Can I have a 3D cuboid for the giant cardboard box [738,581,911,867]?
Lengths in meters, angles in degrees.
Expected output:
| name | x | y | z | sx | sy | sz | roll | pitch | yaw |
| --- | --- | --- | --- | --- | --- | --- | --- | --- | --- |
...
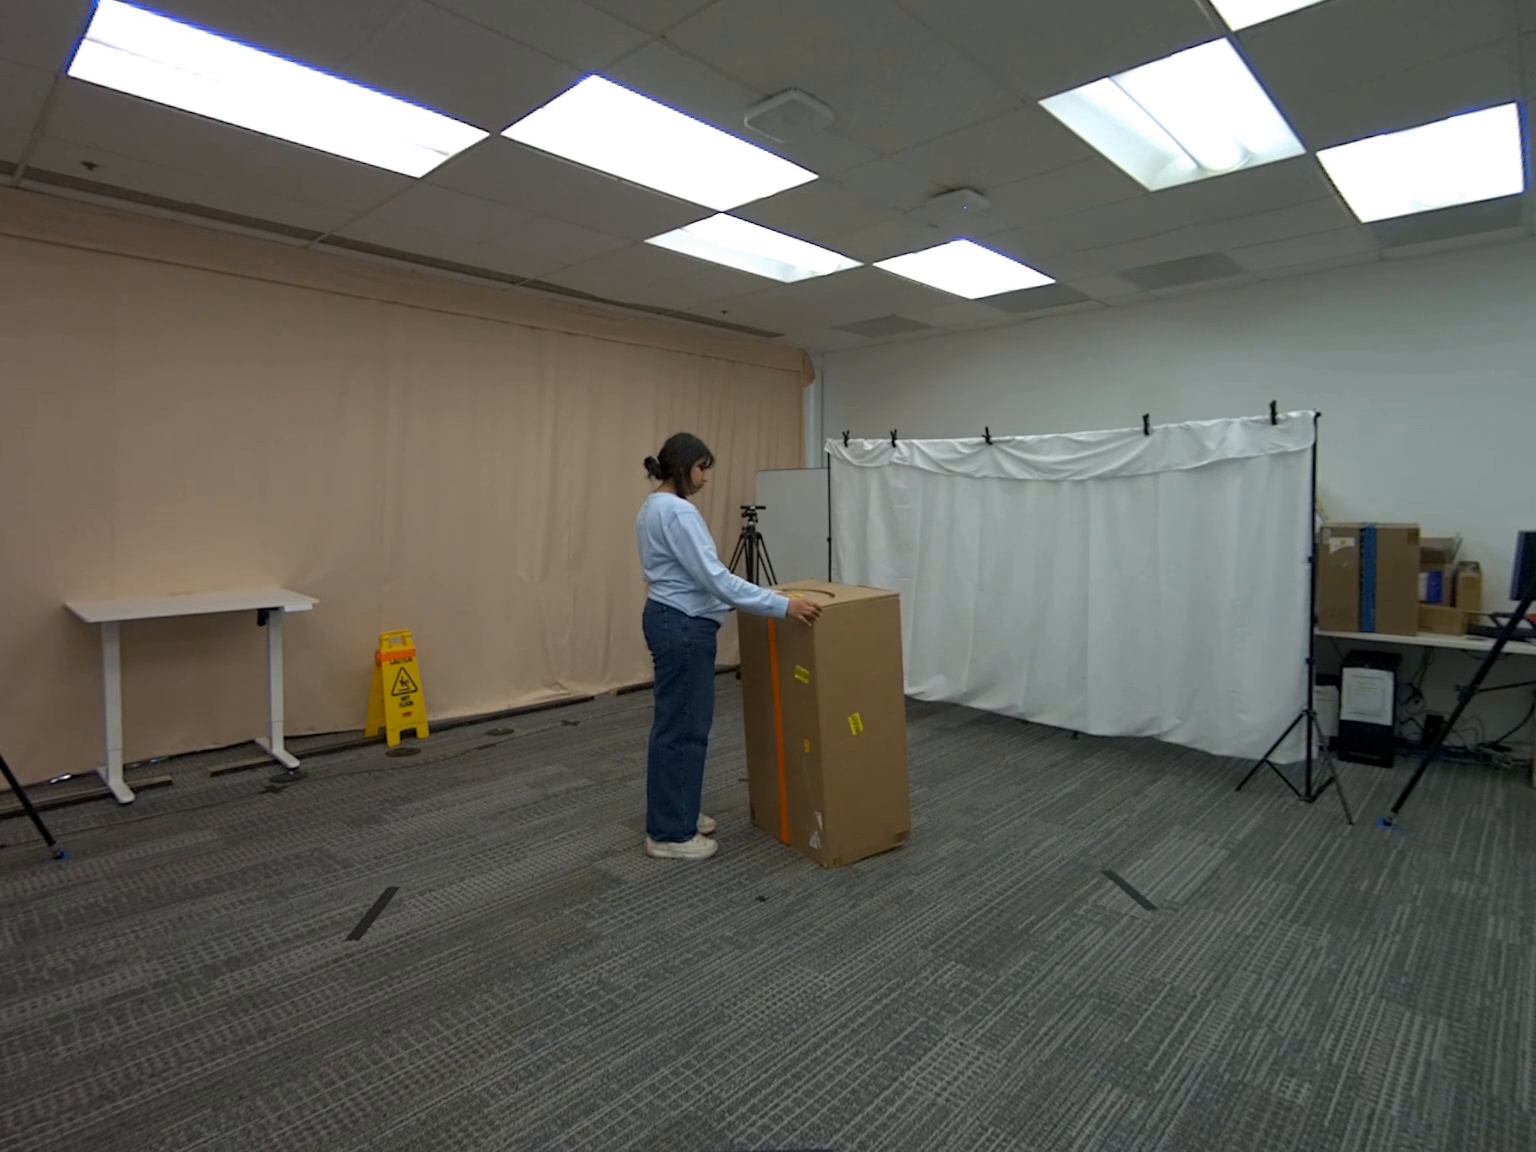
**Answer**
| name | x | y | z | sx | sy | sz | roll | pitch | yaw |
| --- | --- | --- | --- | --- | --- | --- | --- | --- | --- |
| giant cardboard box | 0.223 | 0.570 | 3.508 | 0.436 | 1.022 | 0.601 | -8 | 7 | -30 |
